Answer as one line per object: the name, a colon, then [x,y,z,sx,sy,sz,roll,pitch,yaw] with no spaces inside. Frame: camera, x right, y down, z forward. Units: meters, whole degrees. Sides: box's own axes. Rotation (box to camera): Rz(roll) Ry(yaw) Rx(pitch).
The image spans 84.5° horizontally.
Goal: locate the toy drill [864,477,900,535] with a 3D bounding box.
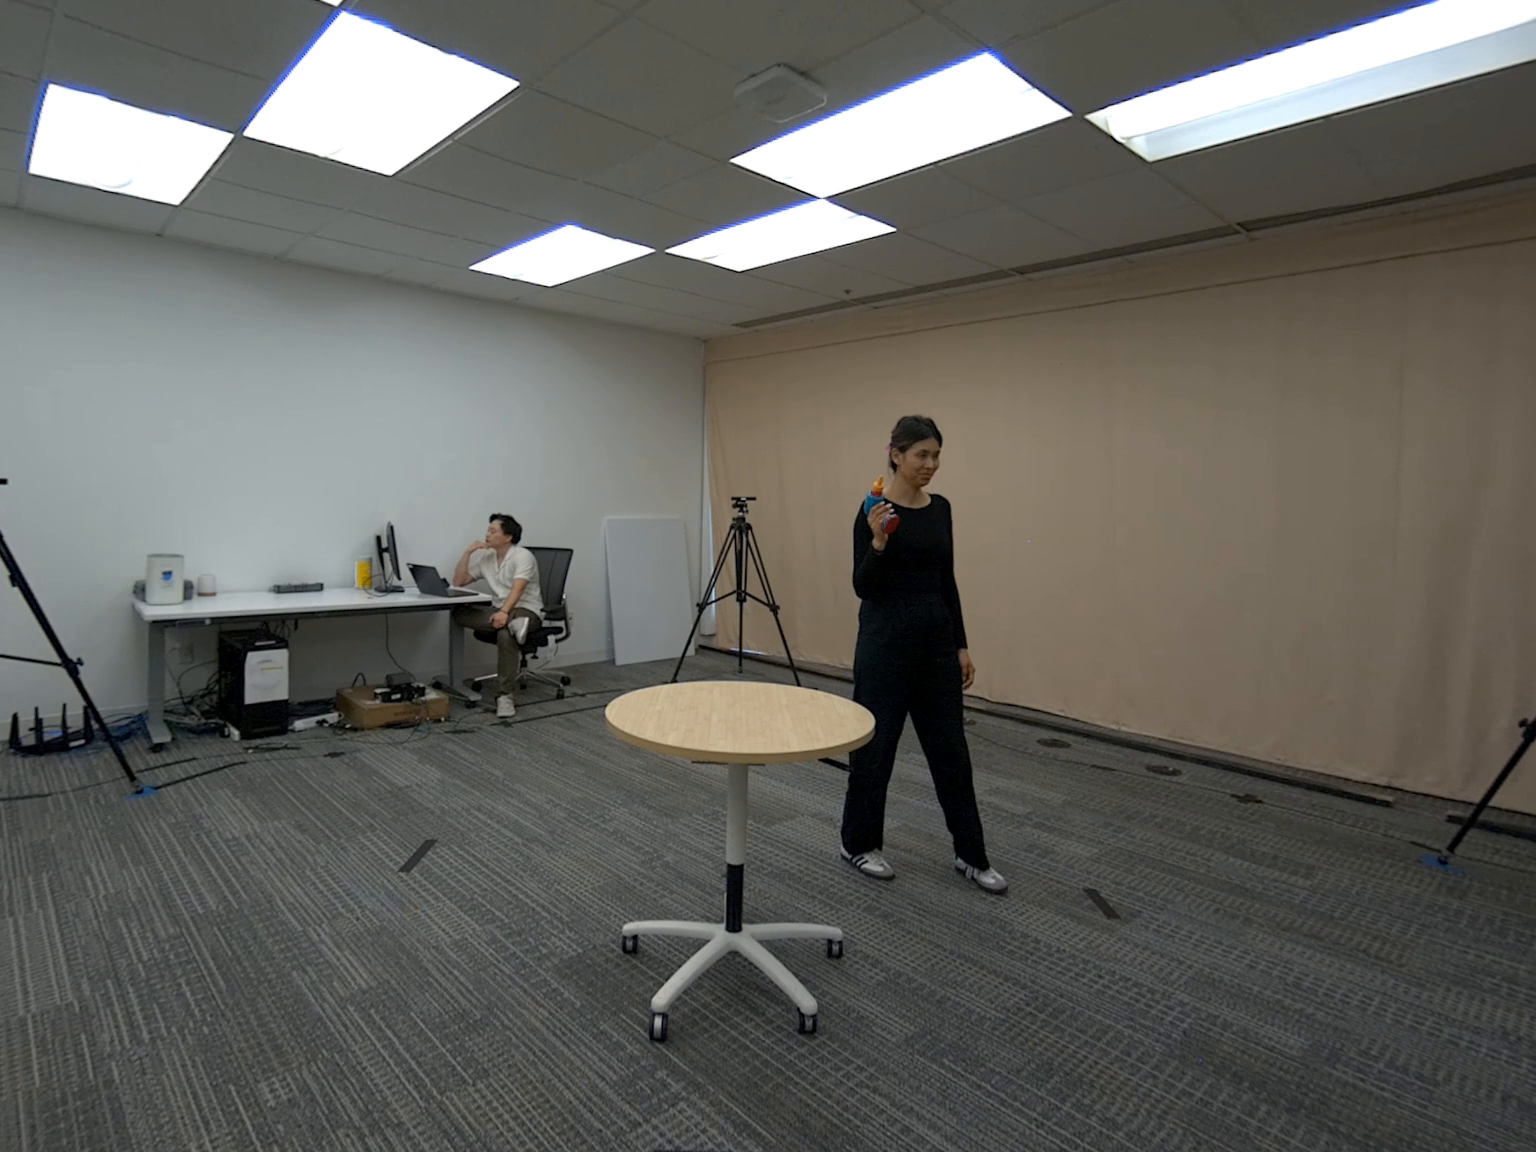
toy drill: [0.367,-0.242,2.783,0.060,0.167,0.151,-9,42,-27]
